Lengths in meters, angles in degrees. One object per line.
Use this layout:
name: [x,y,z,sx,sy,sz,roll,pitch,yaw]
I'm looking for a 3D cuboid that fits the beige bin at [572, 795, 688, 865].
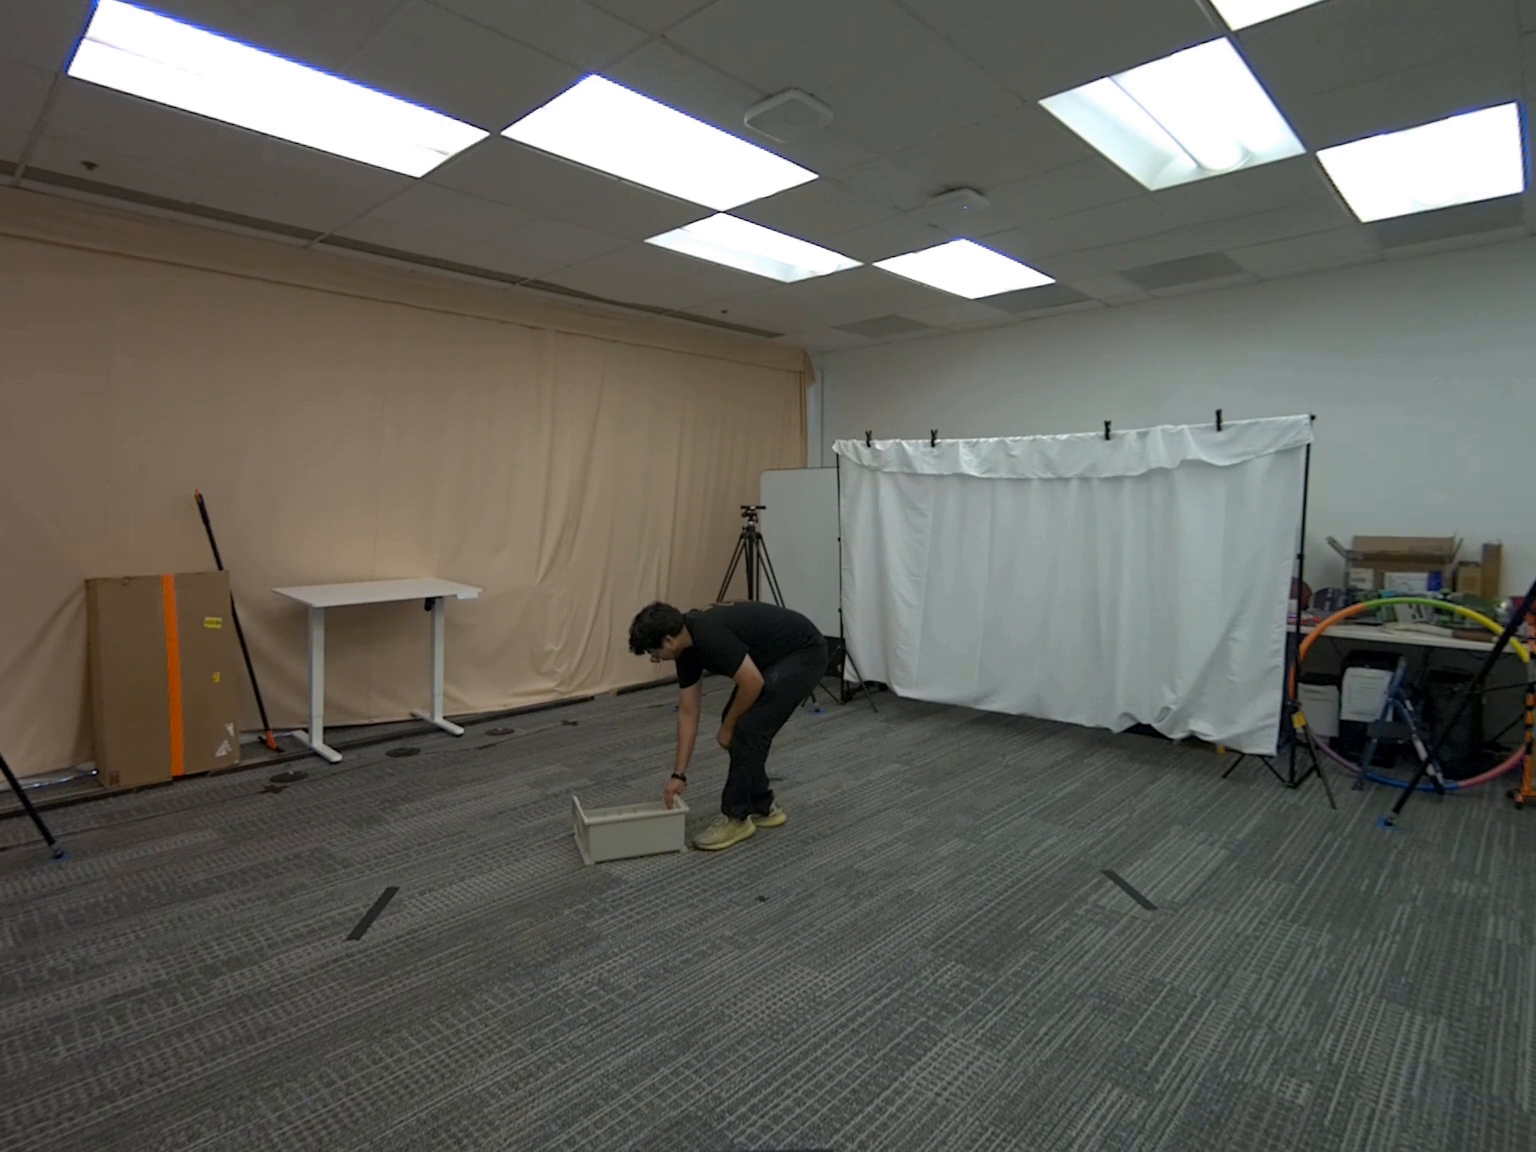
beige bin: [-0.579,1.012,3.492,0.414,0.188,0.386,-1,5,-20]
